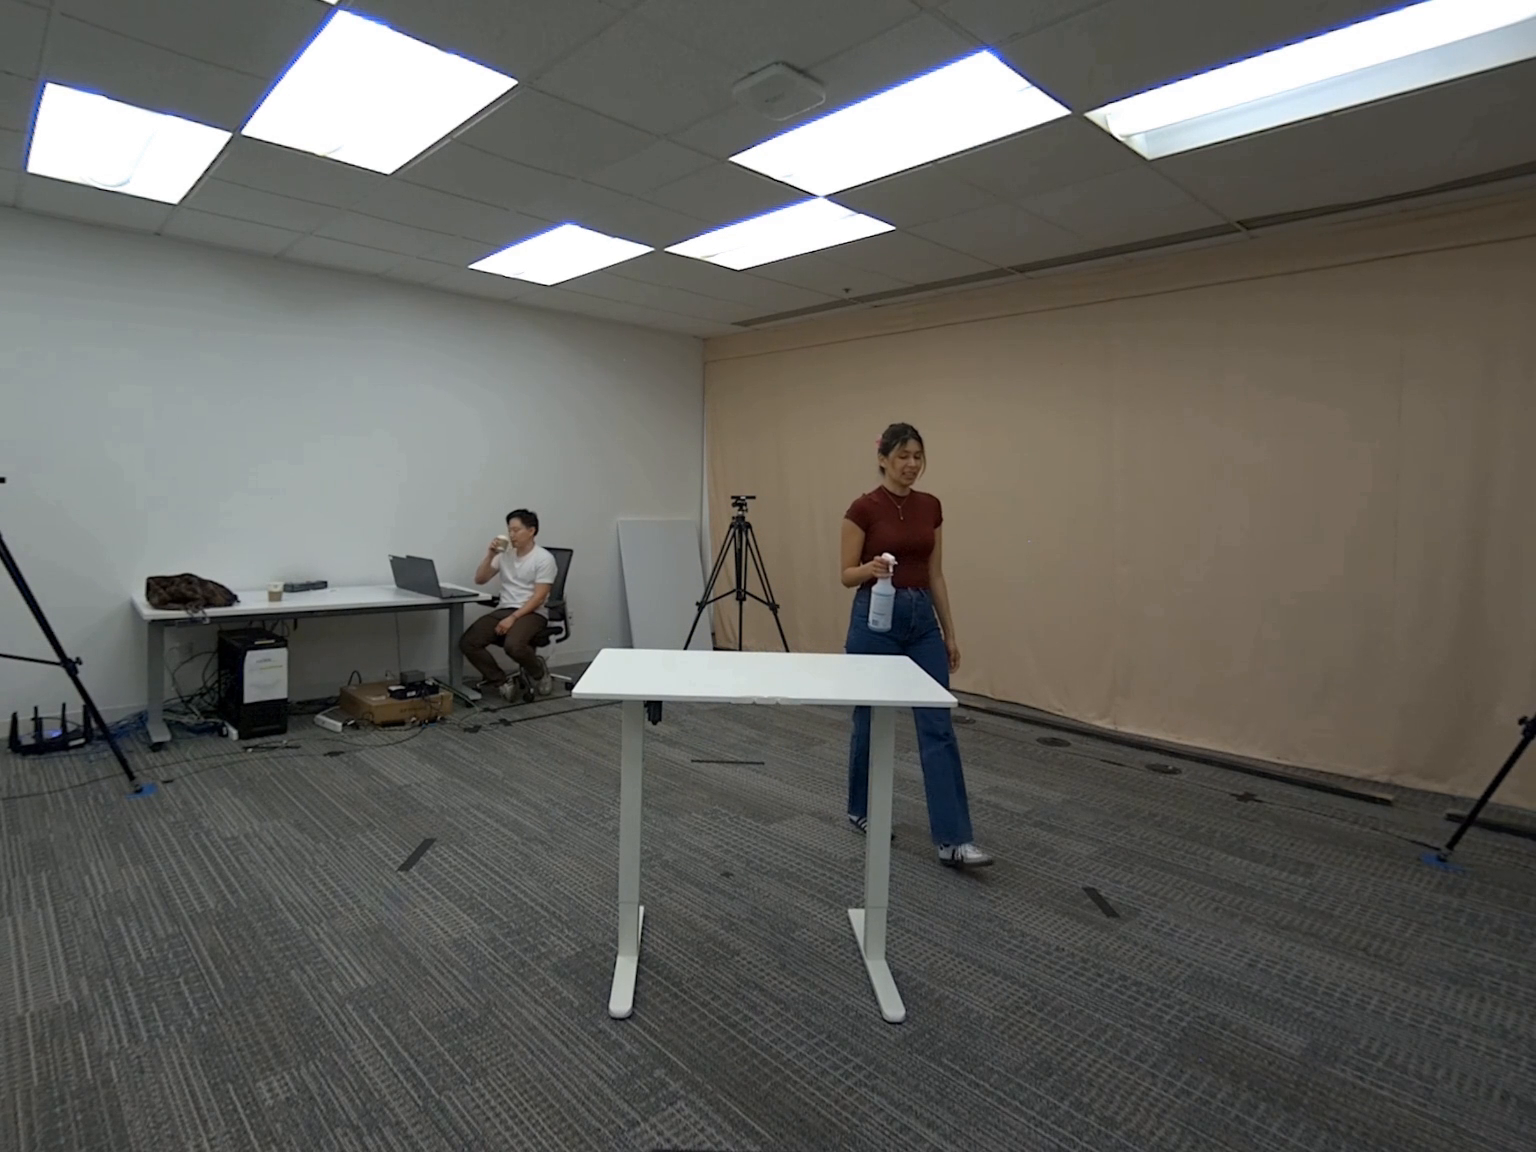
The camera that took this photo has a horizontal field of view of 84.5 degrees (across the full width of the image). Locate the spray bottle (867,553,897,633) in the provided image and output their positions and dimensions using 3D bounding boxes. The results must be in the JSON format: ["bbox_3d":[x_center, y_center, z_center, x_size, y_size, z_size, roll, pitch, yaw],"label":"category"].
[{"bbox_3d":[0.426,0.060,3.134,0.087,0.294,0.090,6,19,7],"label":"spray bottle"}]
